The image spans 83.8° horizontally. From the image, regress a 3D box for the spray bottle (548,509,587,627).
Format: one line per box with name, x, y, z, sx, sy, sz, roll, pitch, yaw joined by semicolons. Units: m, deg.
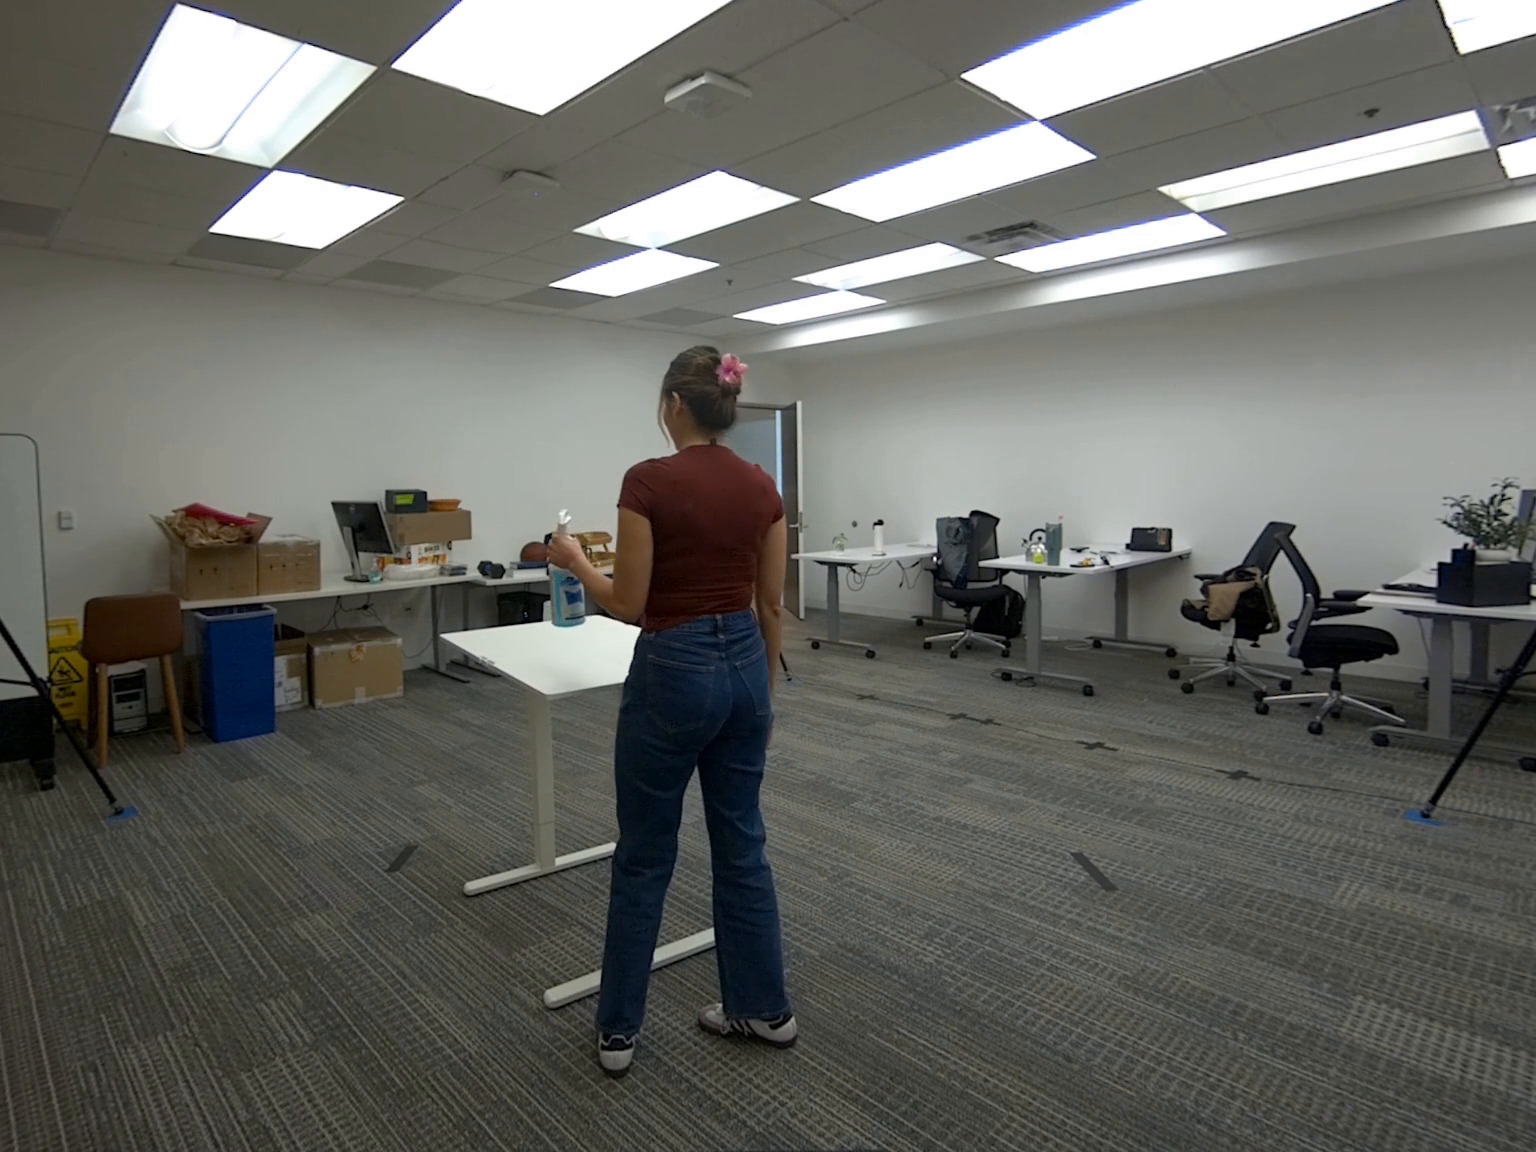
spray bottle;-0.521;-0.019;2.202;0.089;0.296;0.088;2;6;23
